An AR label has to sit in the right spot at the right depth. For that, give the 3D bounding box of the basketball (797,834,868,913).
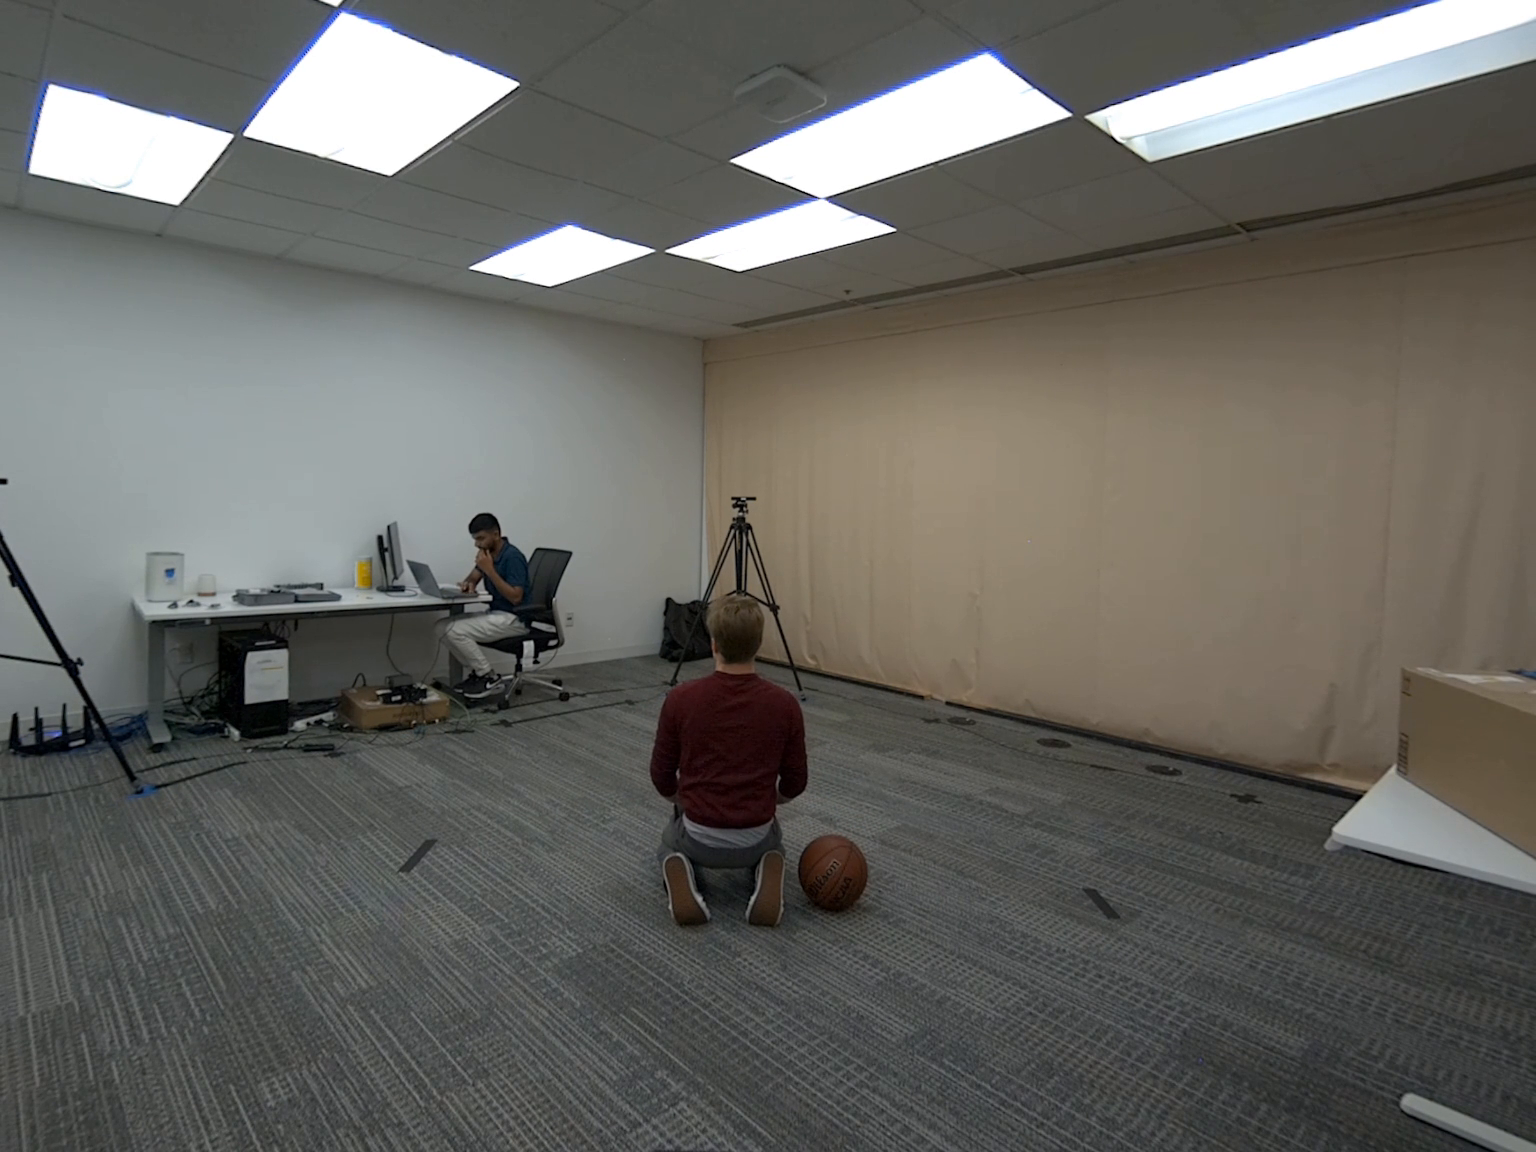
[{"bbox_3d":[0.217,1.010,2.884,0.236,0.235,0.237,1,4,-1],"label":"basketball"}]
